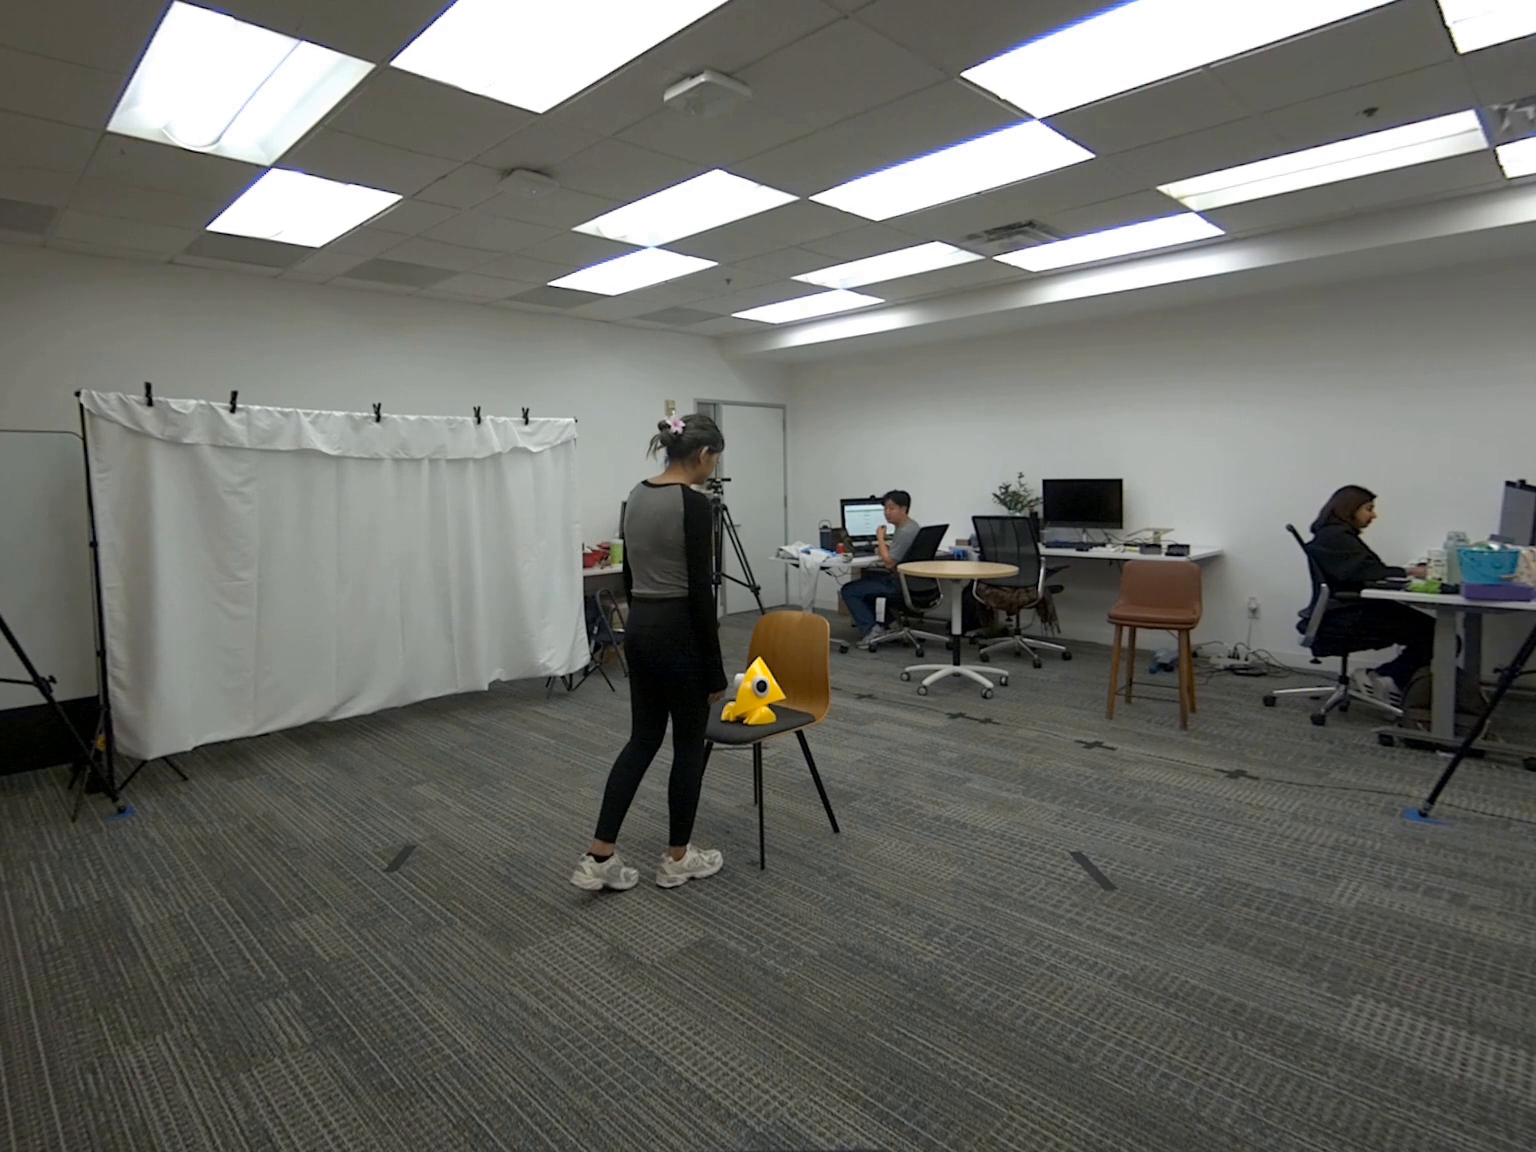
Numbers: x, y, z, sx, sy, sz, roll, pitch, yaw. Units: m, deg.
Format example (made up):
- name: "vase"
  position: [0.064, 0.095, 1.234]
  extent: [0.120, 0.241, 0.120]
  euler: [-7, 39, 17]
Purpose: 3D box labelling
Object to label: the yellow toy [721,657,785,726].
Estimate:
- name: "yellow toy"
  position: [-0.067, 0.431, 3.249]
  extent: [0.211, 0.231, 0.187]
  euler: [1, 0, 38]
